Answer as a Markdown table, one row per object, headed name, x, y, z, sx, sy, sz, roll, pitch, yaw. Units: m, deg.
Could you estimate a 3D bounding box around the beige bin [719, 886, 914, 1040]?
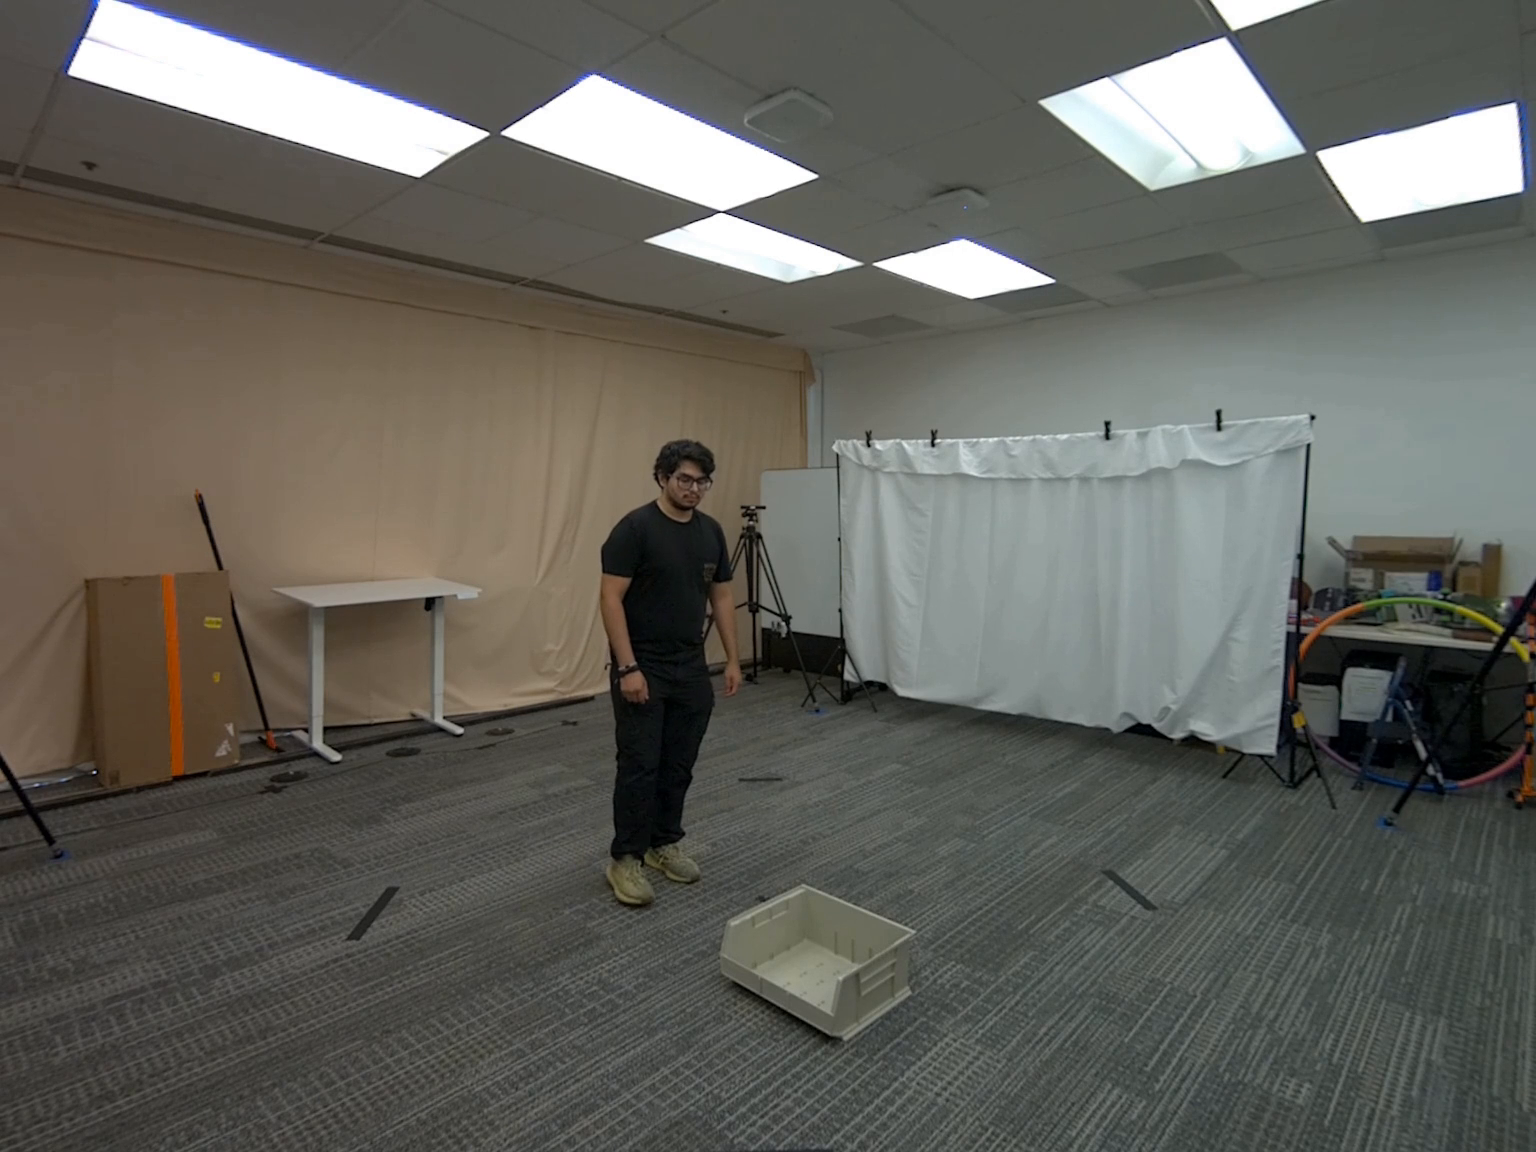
| name | x | y | z | sx | sy | sz | roll | pitch | yaw |
| --- | --- | --- | --- | --- | --- | --- | --- | --- | --- |
| beige bin | 0.146 | 1.104 | 2.419 | 0.436 | 0.188 | 0.366 | 4 | 5 | 44 |
